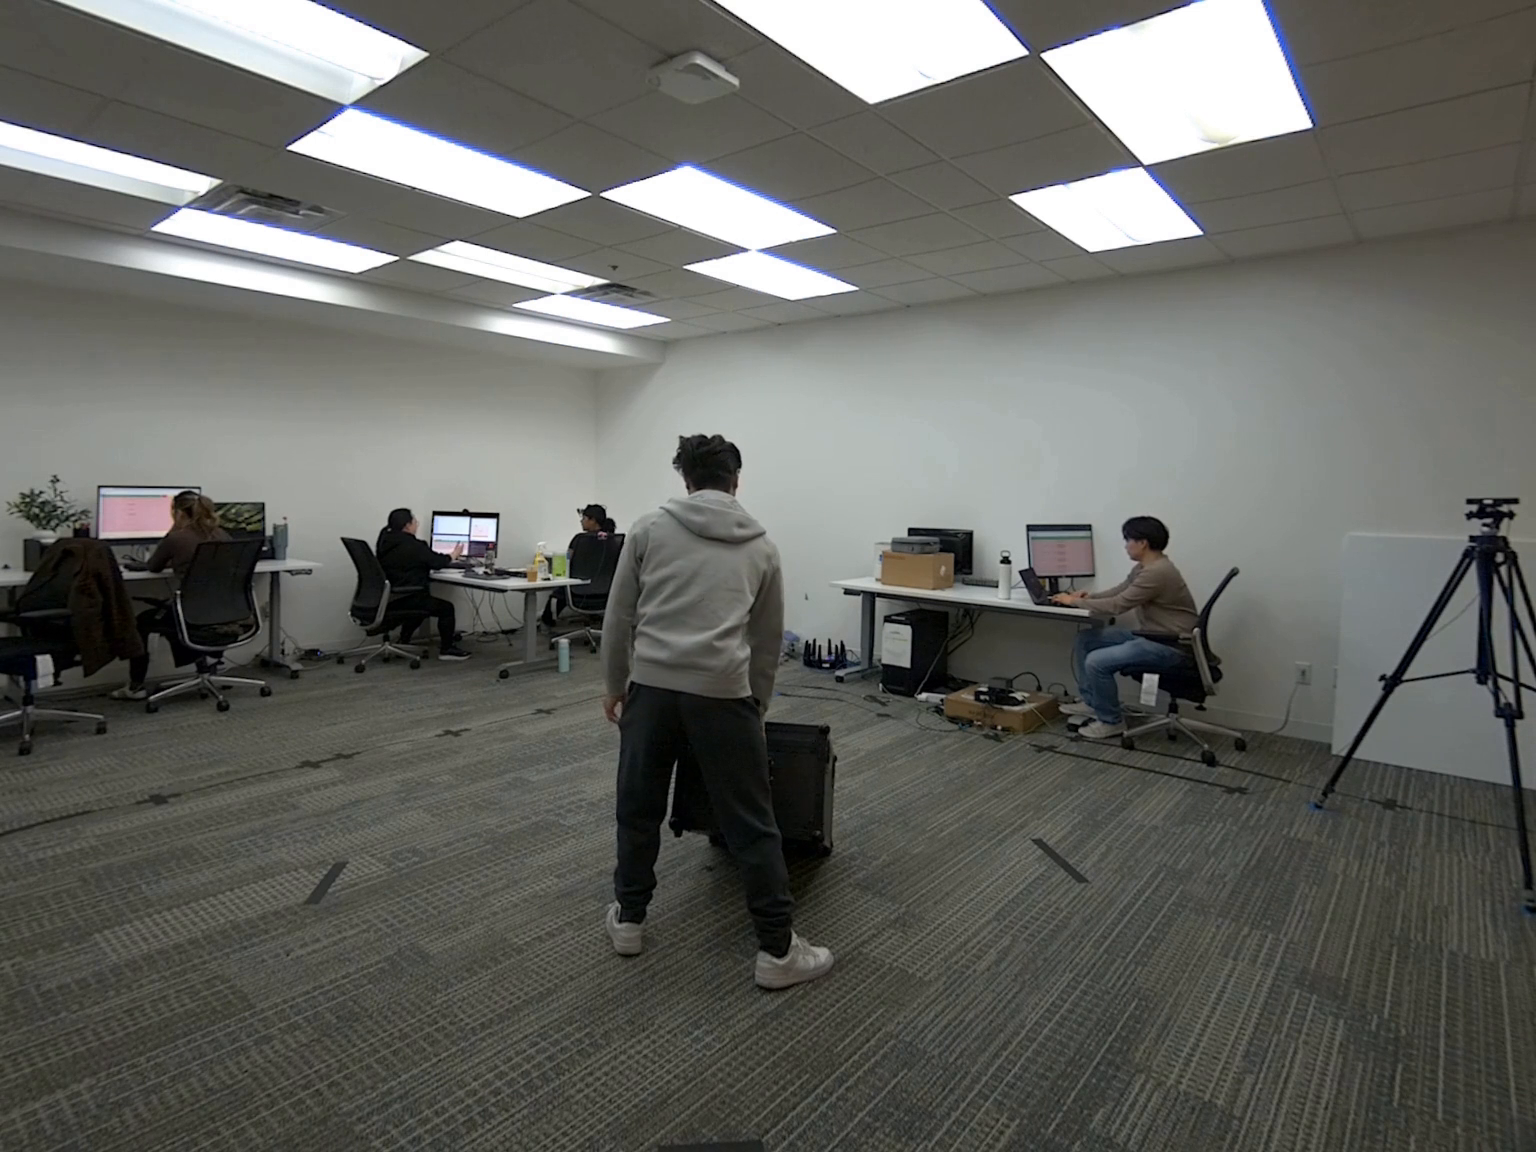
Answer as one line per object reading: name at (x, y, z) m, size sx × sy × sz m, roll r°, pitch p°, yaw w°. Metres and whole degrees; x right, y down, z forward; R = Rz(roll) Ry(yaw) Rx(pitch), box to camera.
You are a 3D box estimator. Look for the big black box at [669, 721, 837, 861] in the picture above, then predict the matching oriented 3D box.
big black box at (-0.020, 0.766, 3.073) m, size 0.527 × 0.402 × 0.839 m, roll 2°, pitch -17°, yaw 9°
